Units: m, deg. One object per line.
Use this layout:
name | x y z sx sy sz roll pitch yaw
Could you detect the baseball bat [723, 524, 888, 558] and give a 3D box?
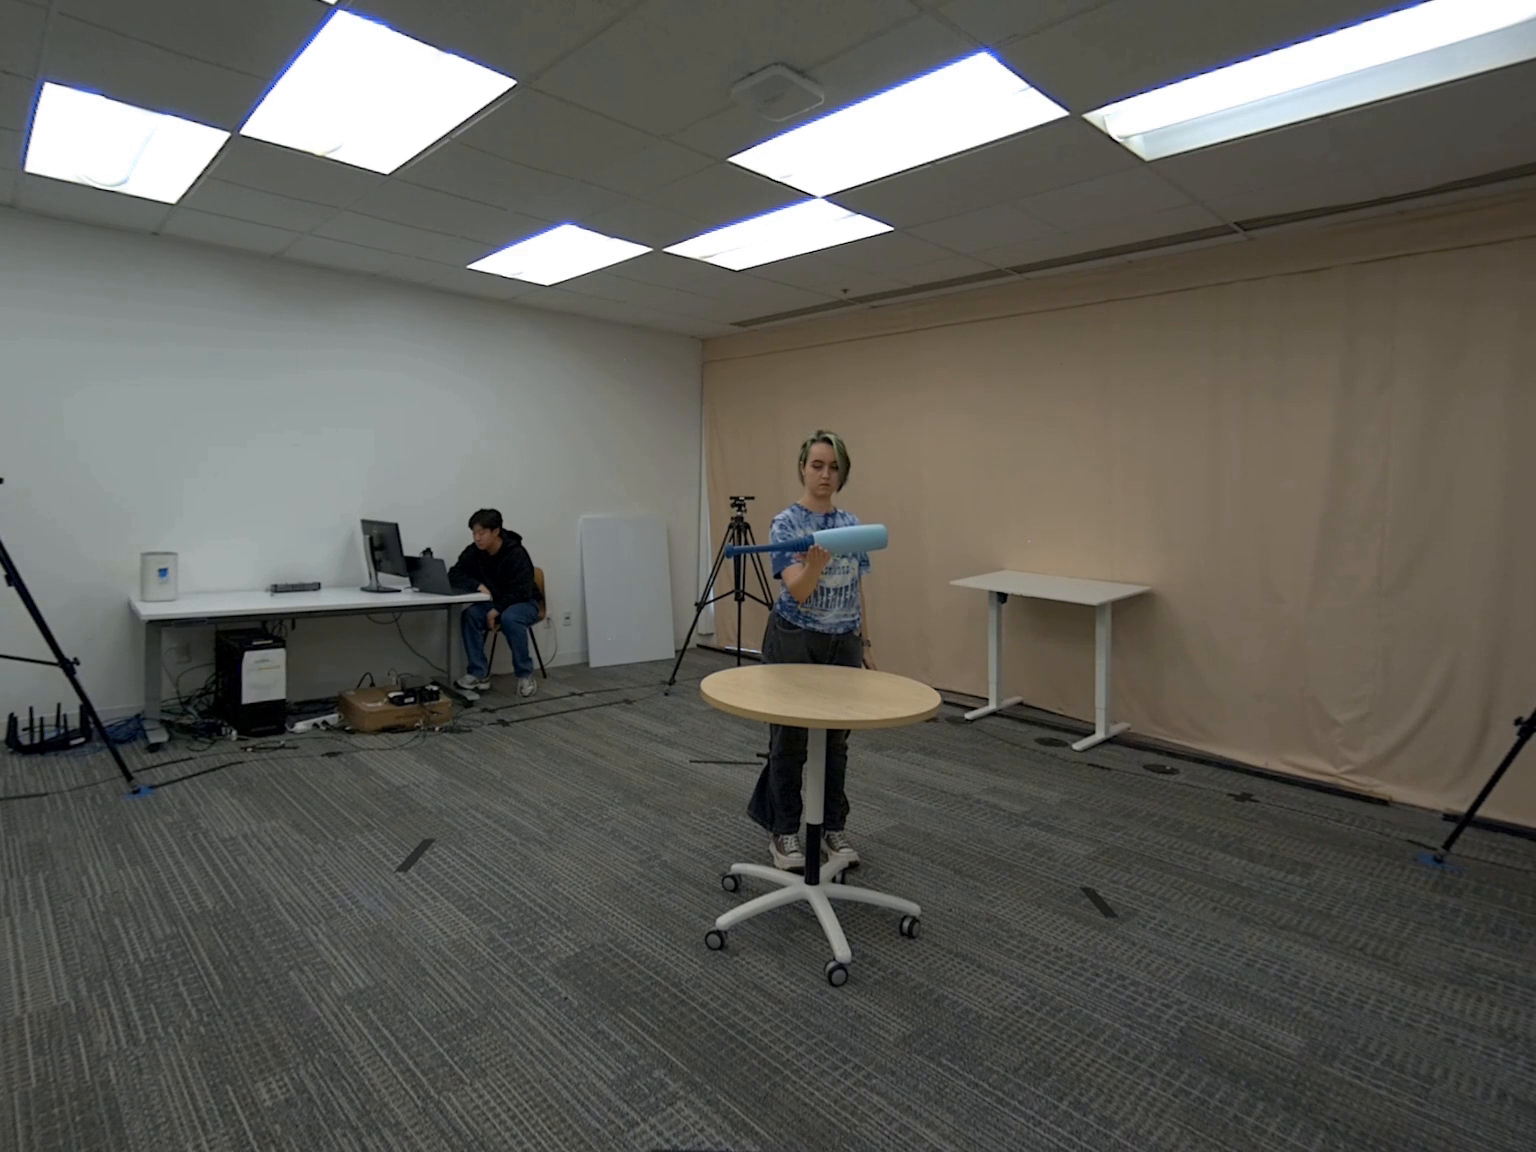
baseball bat | 0.123 -0.101 2.755 0.540 0.089 0.090 -6 5 -7
